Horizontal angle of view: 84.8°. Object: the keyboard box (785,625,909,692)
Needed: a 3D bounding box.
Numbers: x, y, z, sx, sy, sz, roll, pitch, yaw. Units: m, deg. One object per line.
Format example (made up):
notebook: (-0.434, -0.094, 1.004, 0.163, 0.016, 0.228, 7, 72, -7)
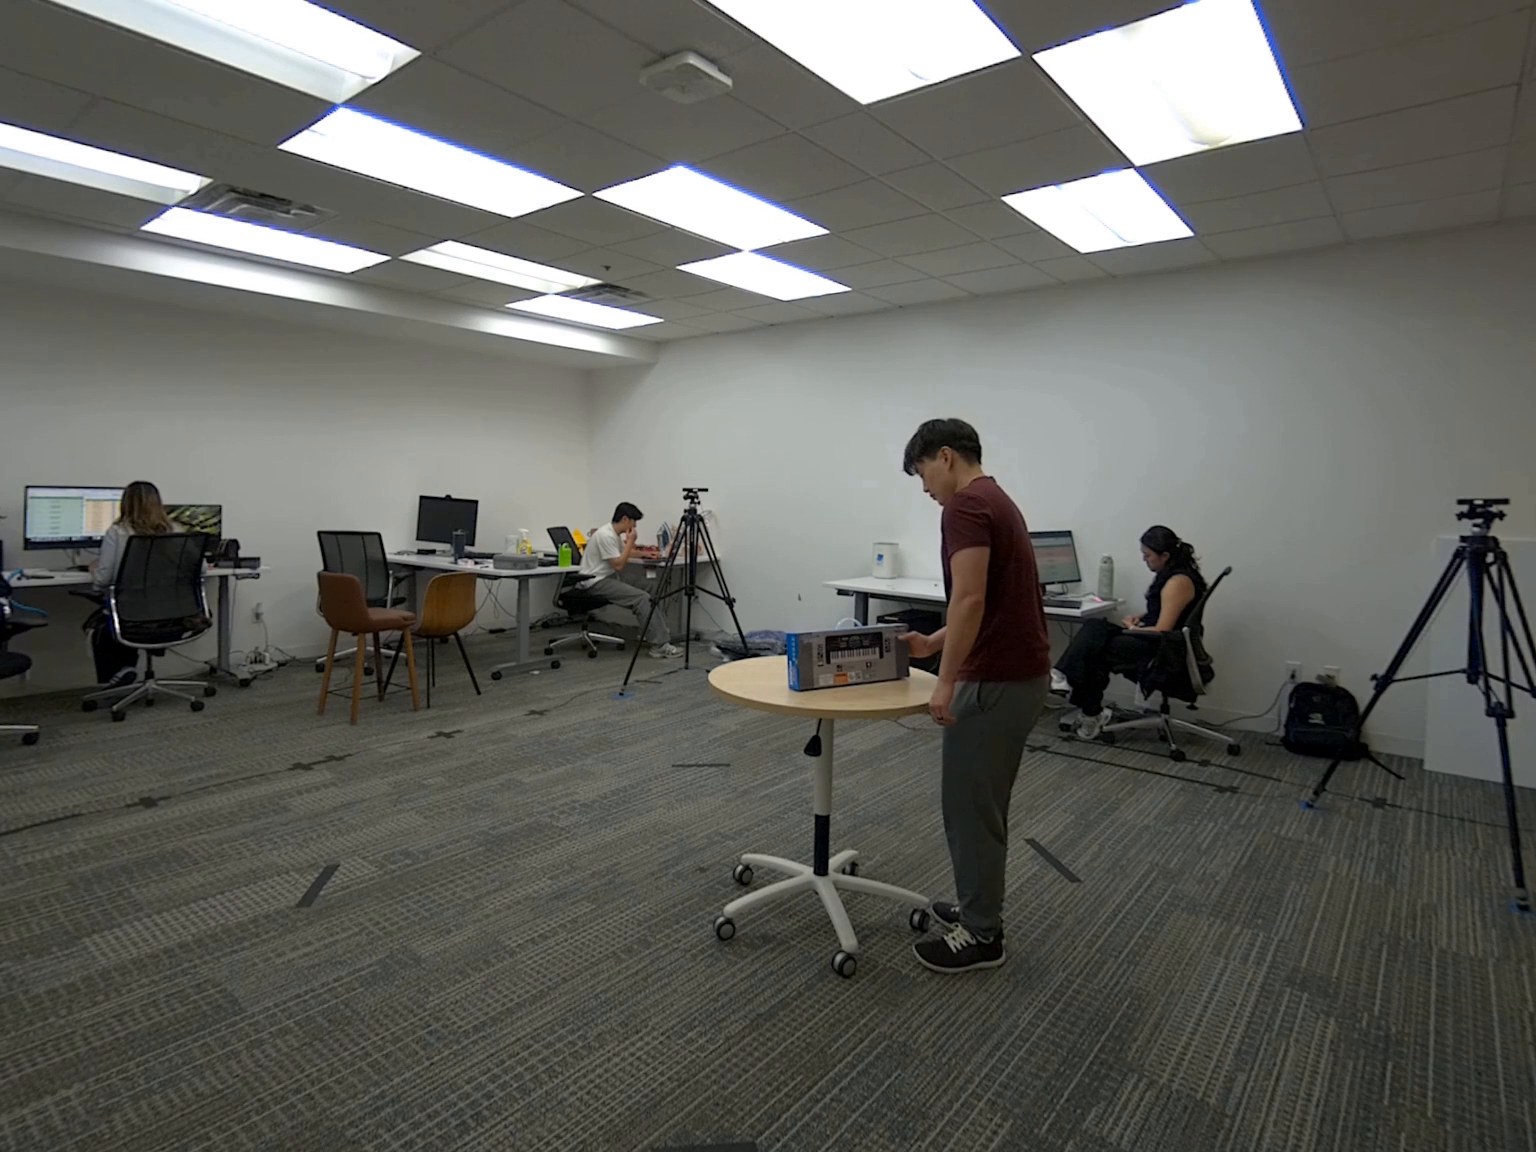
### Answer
keyboard box: (0.254, 0.253, 2.695, 0.426, 0.176, 0.060, -2, -1, -28)
